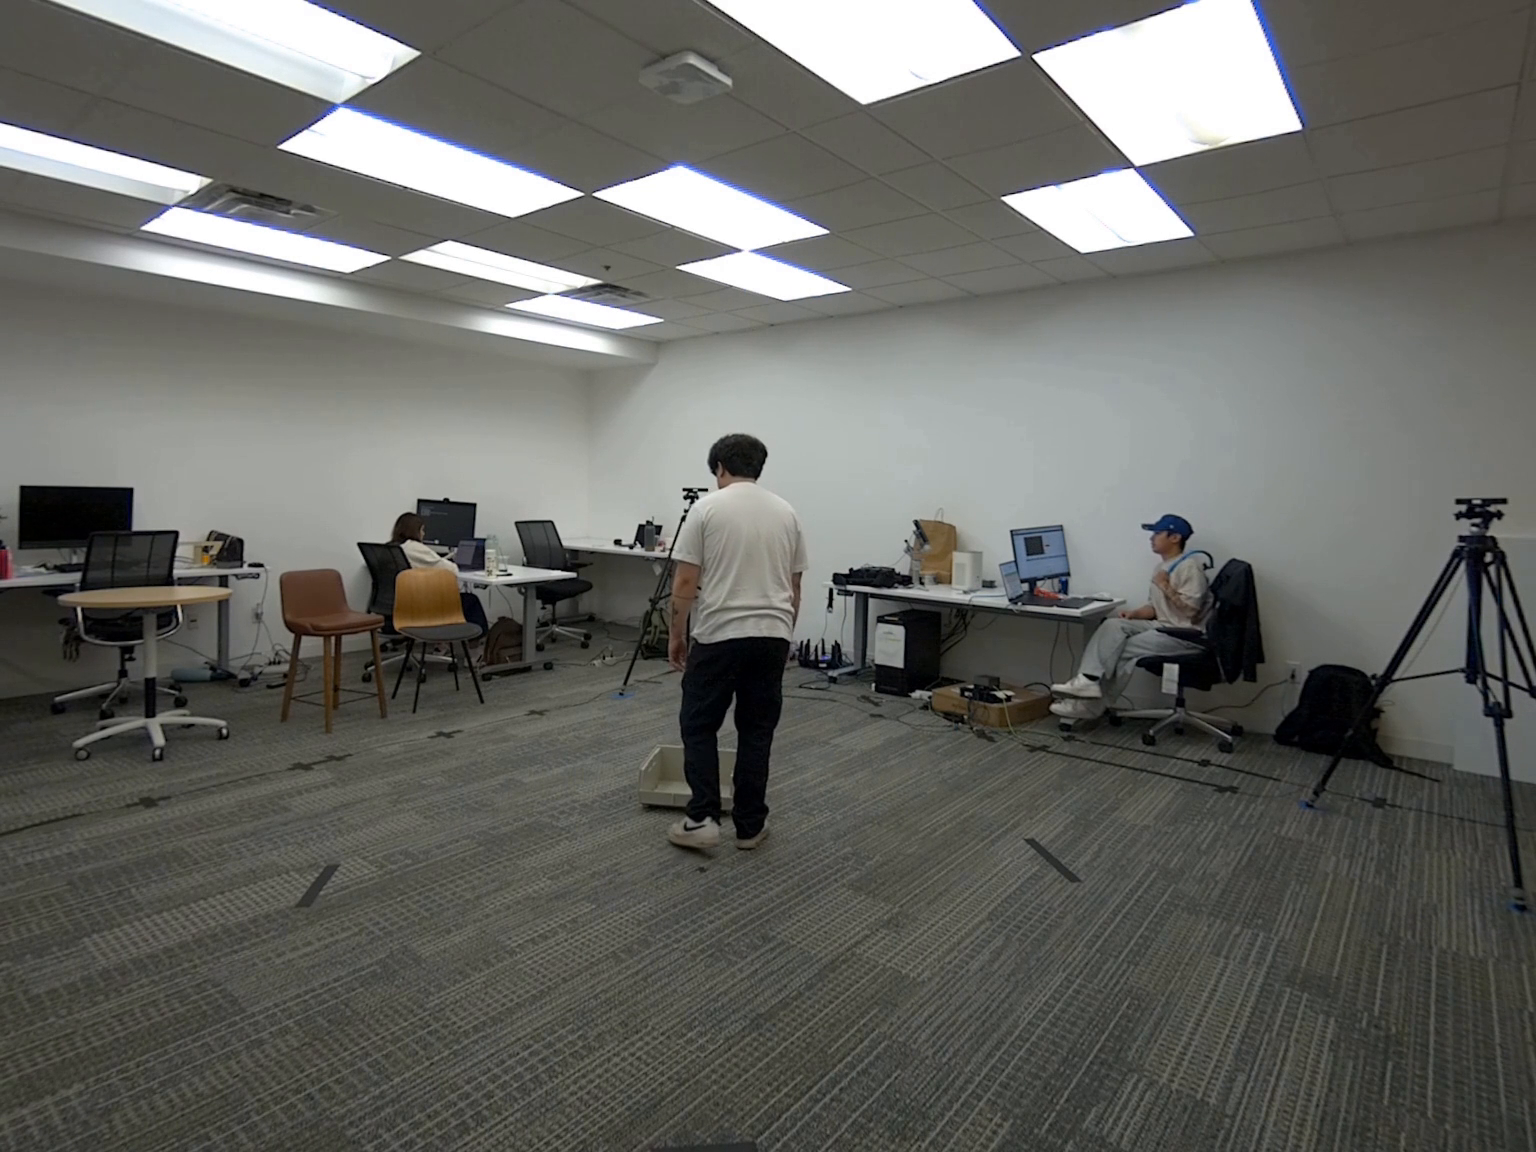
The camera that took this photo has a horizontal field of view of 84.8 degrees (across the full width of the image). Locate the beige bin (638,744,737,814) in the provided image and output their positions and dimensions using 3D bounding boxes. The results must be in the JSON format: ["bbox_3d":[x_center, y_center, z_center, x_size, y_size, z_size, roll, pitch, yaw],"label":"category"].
[{"bbox_3d":[-0.346,0.911,3.813,0.426,0.188,0.375,1,4,7],"label":"beige bin"}]
